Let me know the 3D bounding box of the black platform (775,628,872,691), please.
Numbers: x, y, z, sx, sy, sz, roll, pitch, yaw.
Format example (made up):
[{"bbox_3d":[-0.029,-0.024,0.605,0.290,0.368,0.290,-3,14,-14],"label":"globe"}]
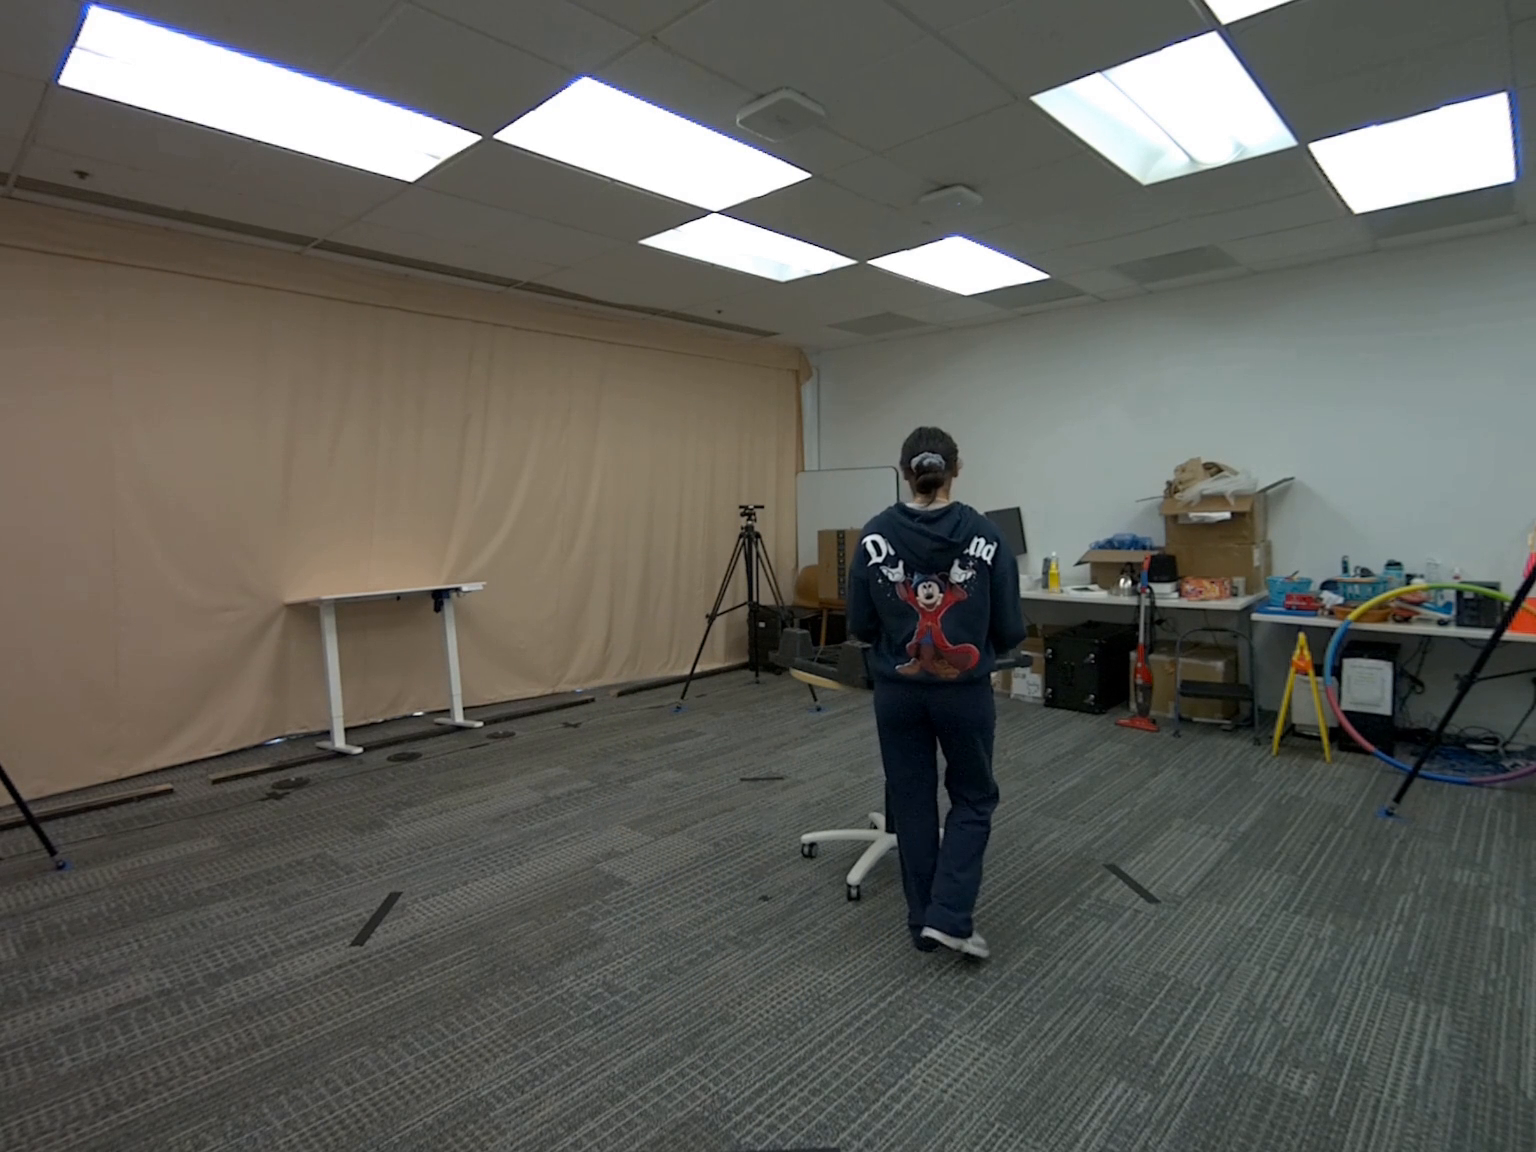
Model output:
[{"bbox_3d":[0.495,0.268,3.190,0.784,0.143,0.623,-4,6,-30],"label":"black platform"}]
